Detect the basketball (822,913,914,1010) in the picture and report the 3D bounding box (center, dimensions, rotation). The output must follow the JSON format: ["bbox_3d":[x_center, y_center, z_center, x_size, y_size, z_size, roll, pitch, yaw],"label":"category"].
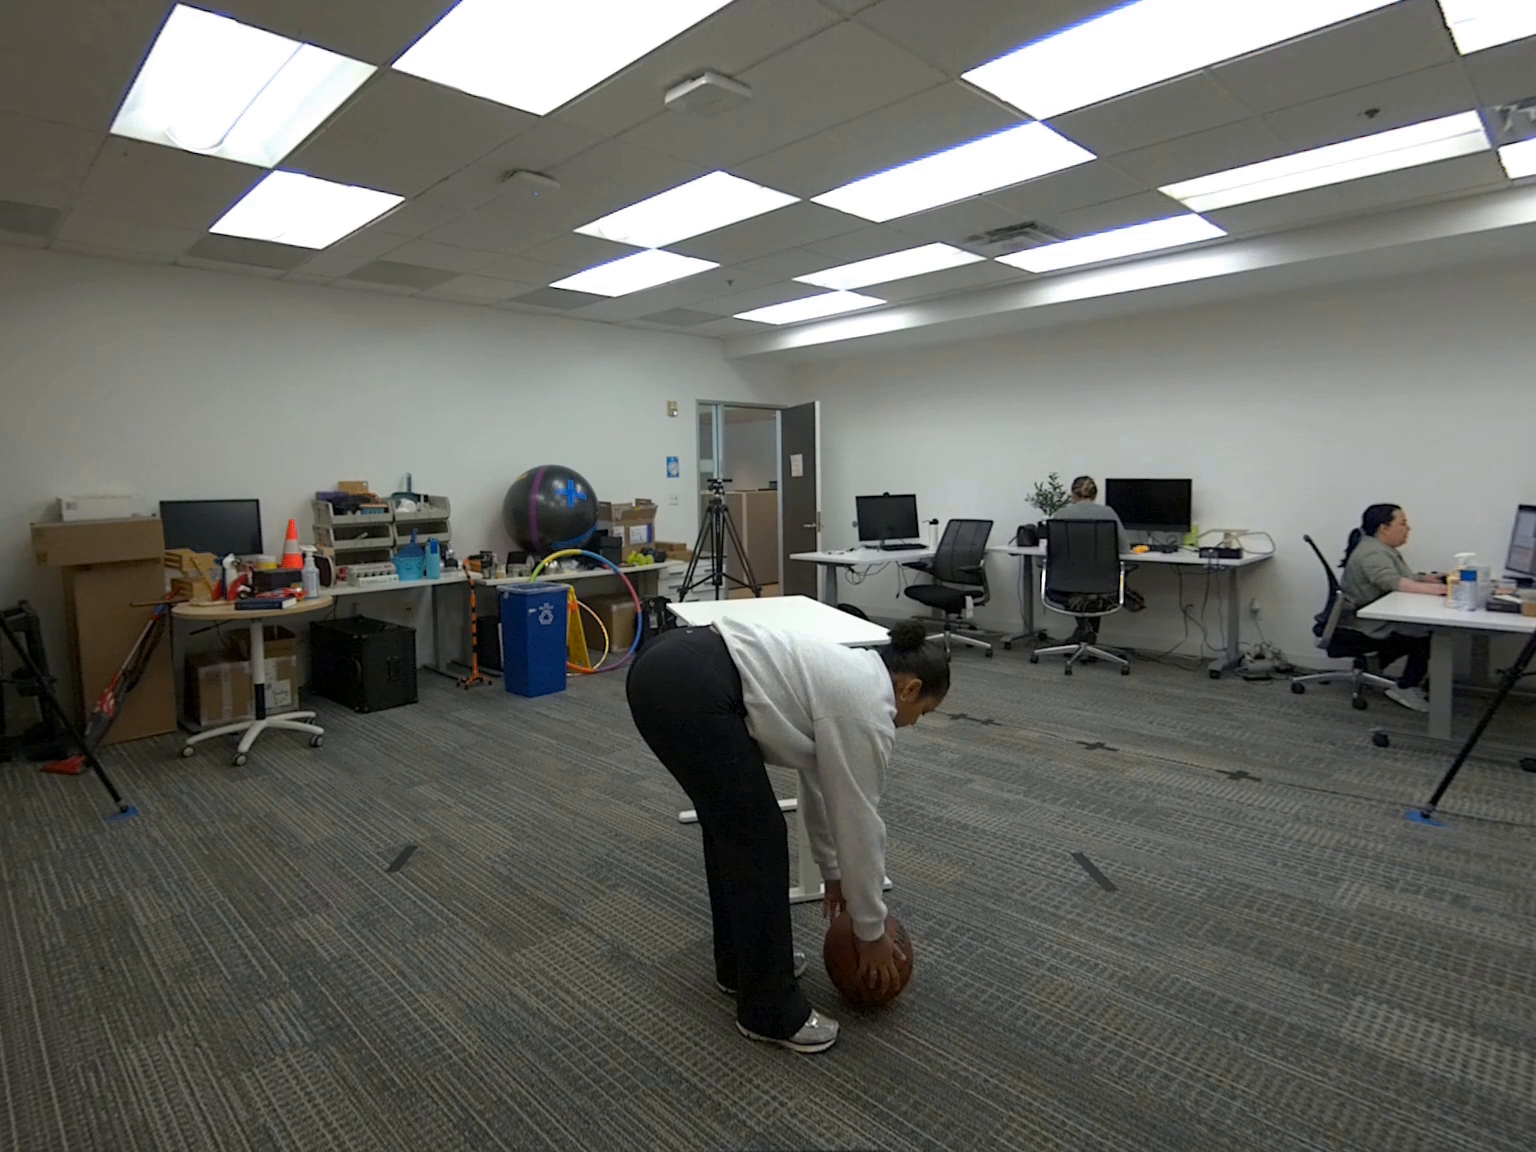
[{"bbox_3d":[0.270,1.007,2.290,0.236,0.235,0.237,-1,5,-2],"label":"basketball"}]
